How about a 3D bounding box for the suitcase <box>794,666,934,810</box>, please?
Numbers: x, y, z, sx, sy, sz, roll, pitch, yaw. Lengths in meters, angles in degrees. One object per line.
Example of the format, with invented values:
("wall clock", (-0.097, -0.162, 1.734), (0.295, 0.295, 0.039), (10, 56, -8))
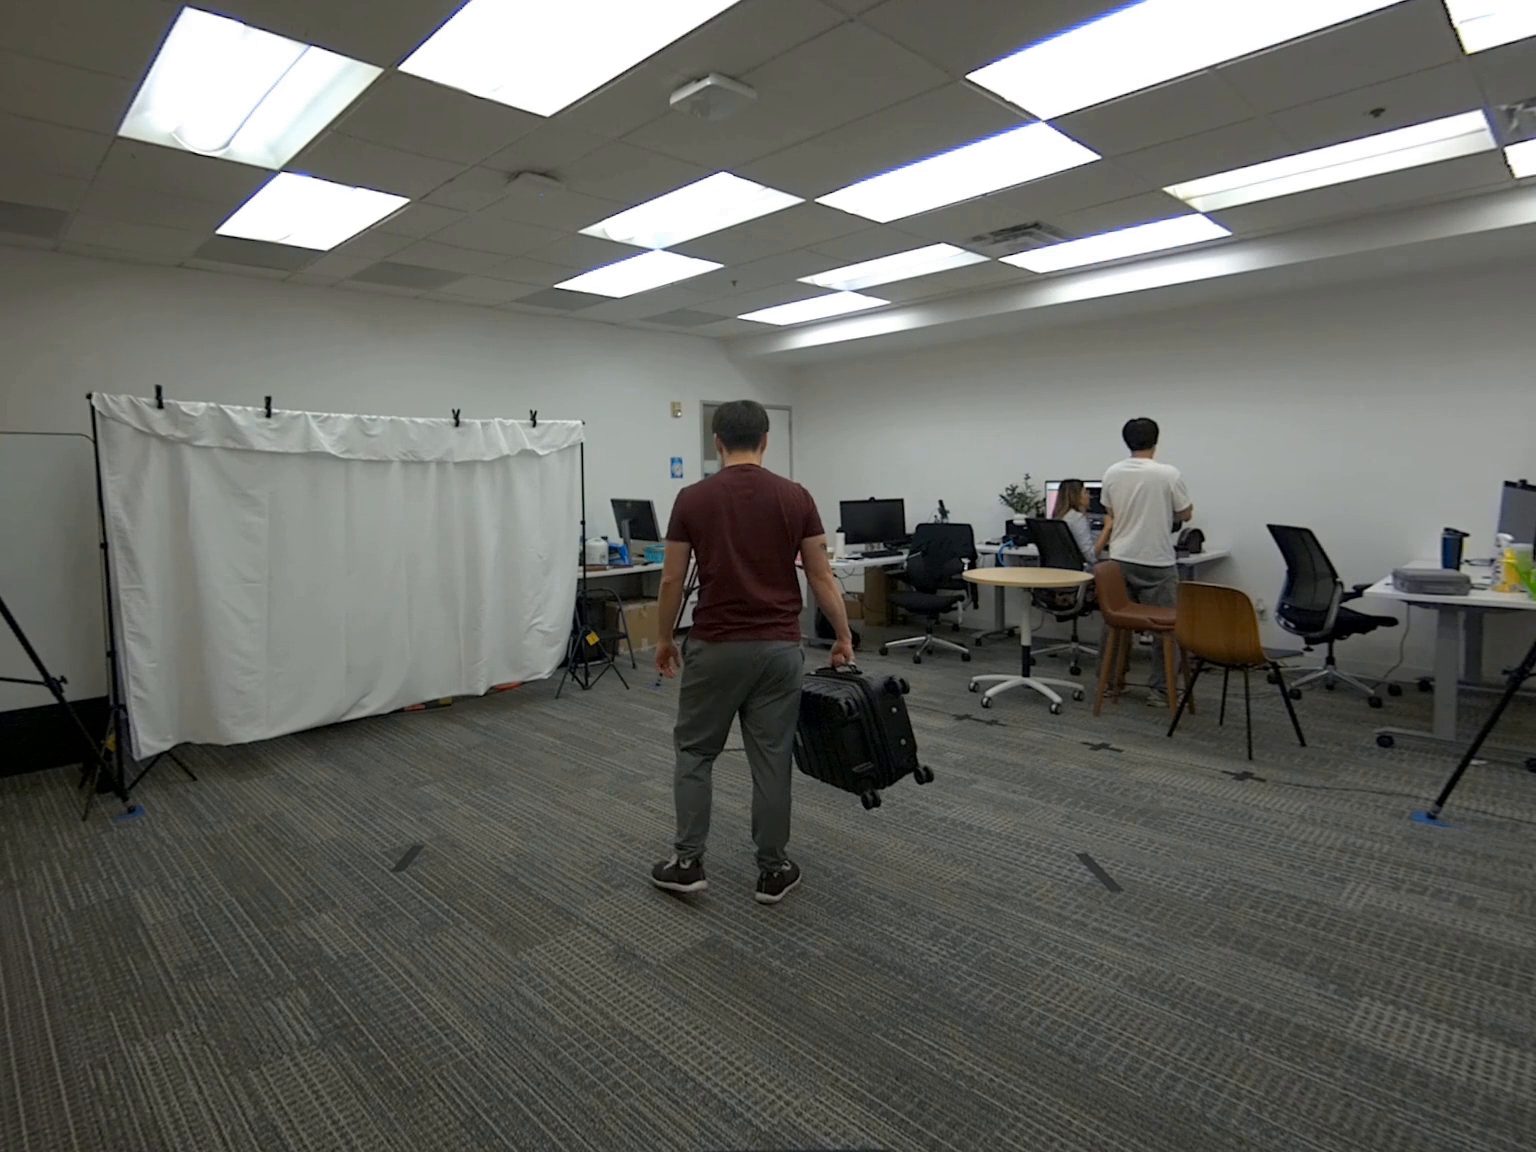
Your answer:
("suitcase", (0.182, 0.529, 3.120), (0.253, 0.384, 0.995), (-15, 3, -24))
